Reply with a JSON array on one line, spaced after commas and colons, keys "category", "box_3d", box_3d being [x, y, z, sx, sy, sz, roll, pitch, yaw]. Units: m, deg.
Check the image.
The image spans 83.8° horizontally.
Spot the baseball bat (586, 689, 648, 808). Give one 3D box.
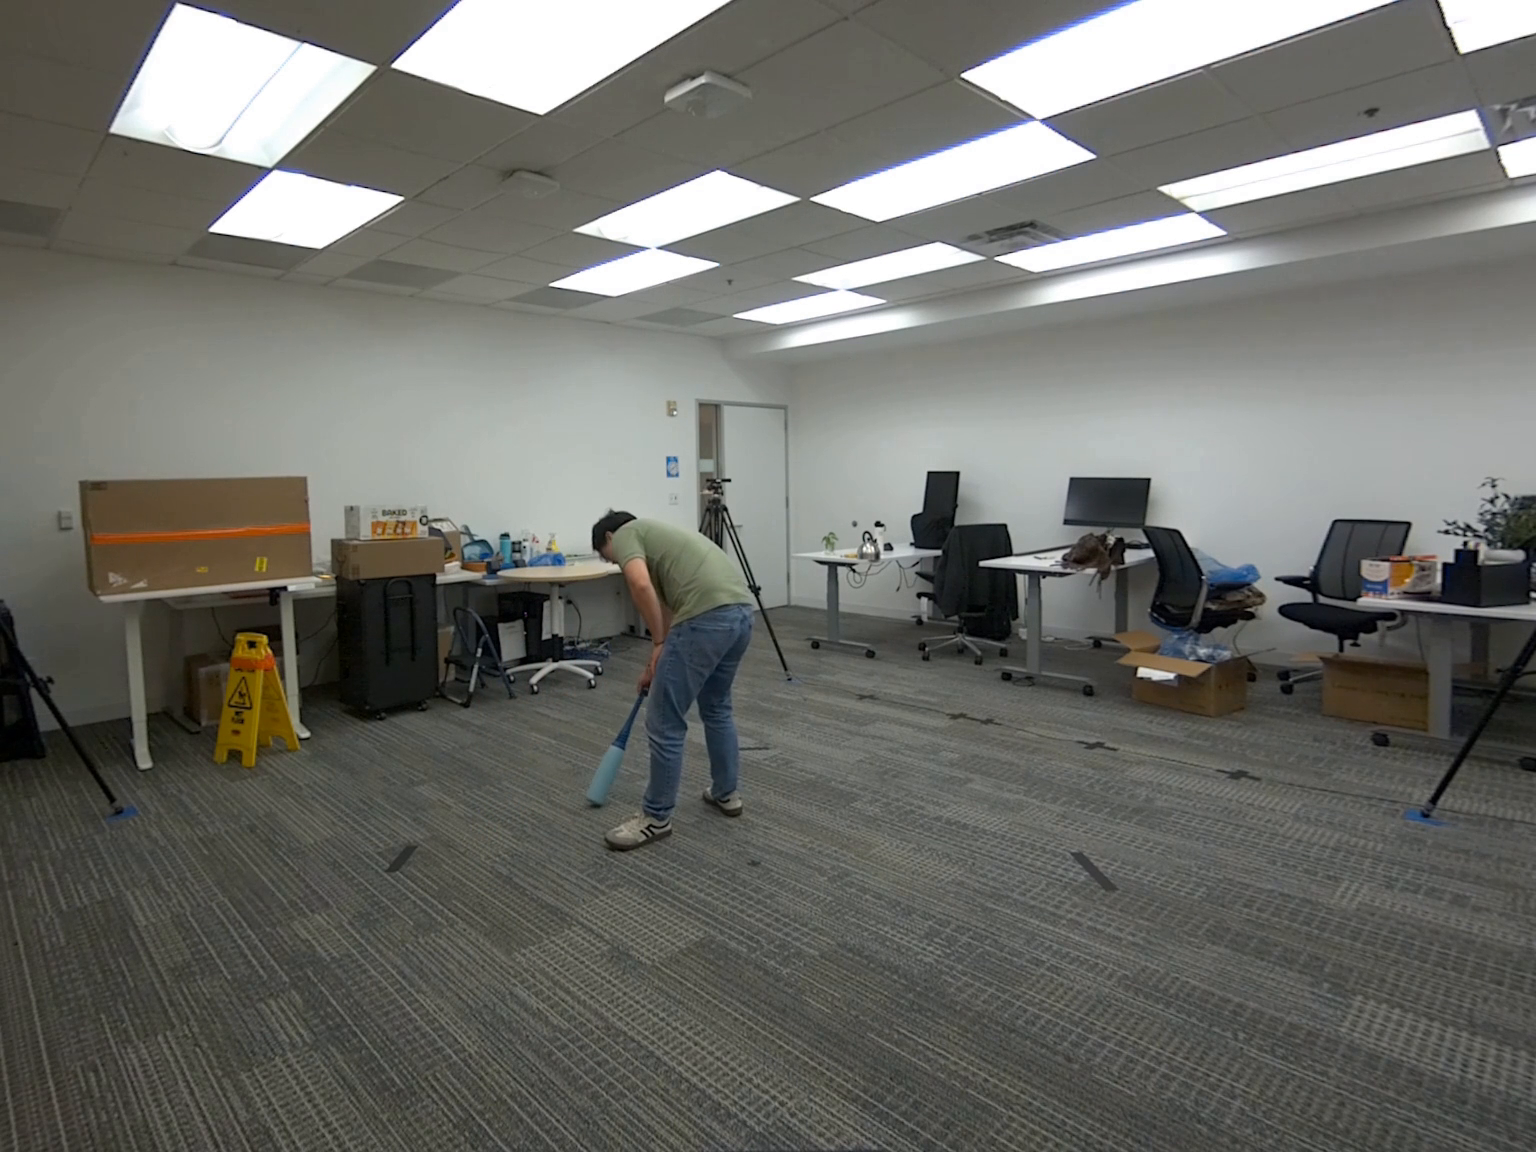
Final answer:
[{"category": "baseball bat", "box_3d": [-0.652, 0.742, 3.771, 0.090, 0.548, 0.087, 20, -21, 6]}]
